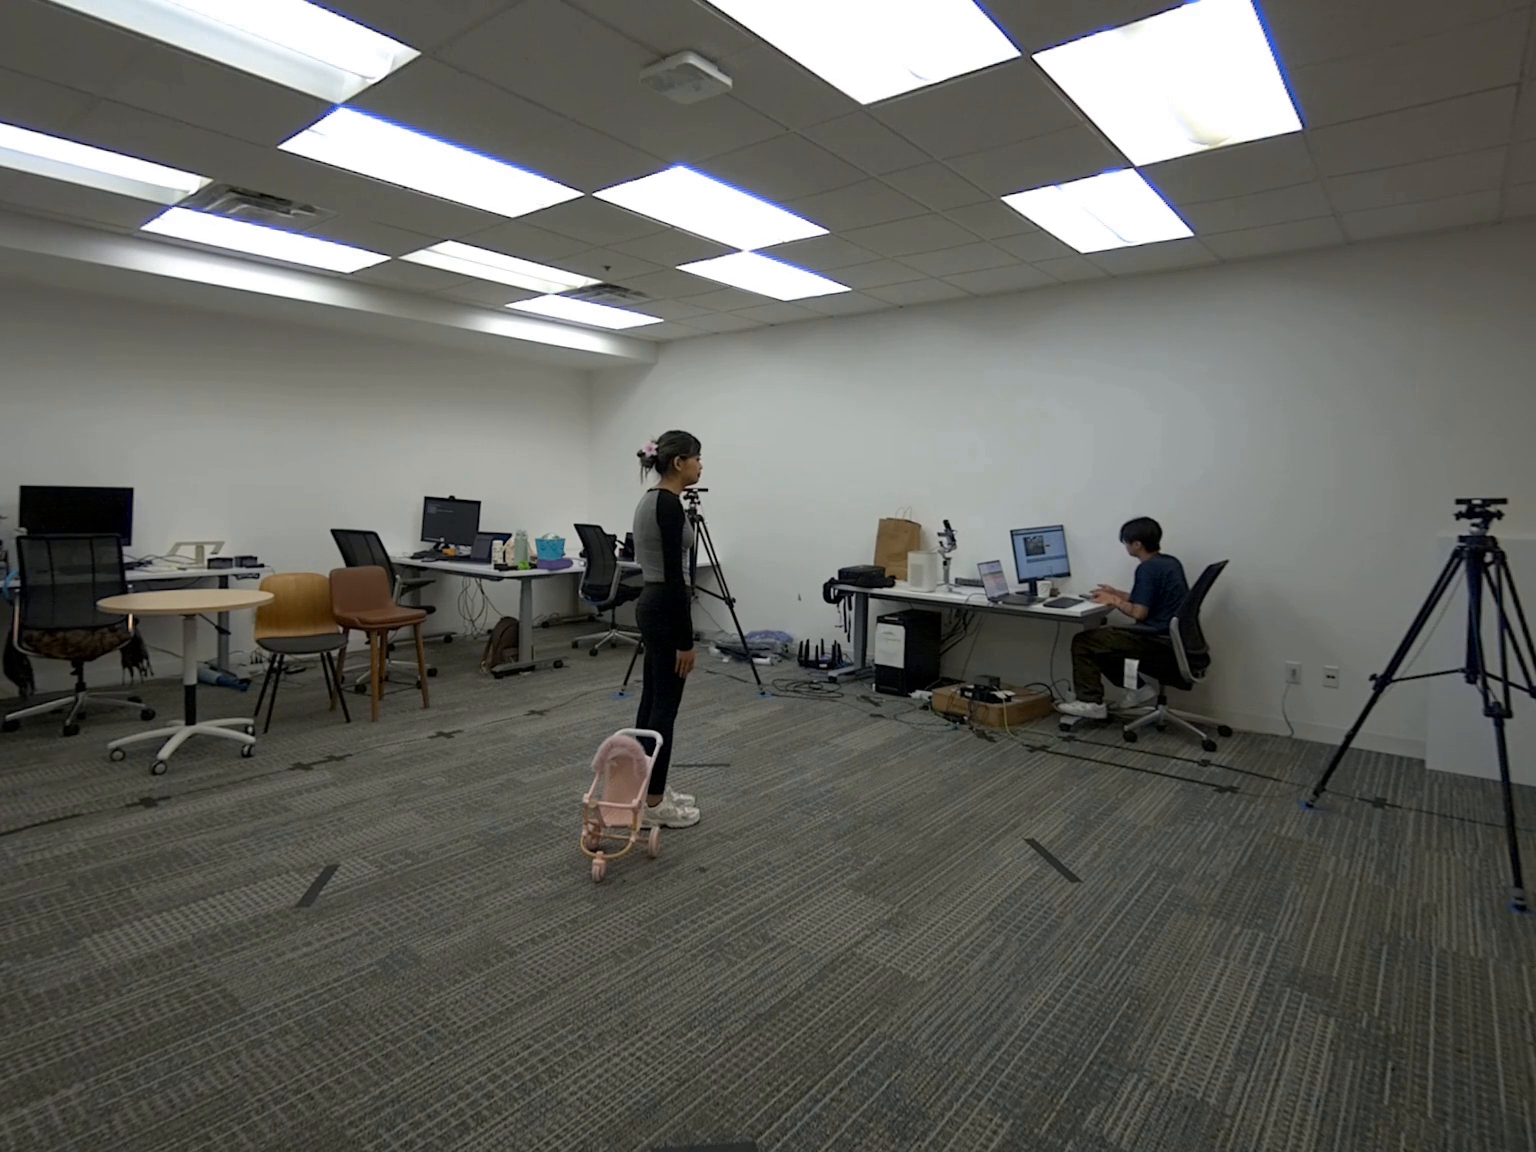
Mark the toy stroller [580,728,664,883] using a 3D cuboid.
[{"bbox_3d":[-0.571,0.834,3.169,0.287,0.541,0.331,2,-13,17],"label":"toy stroller"}]
